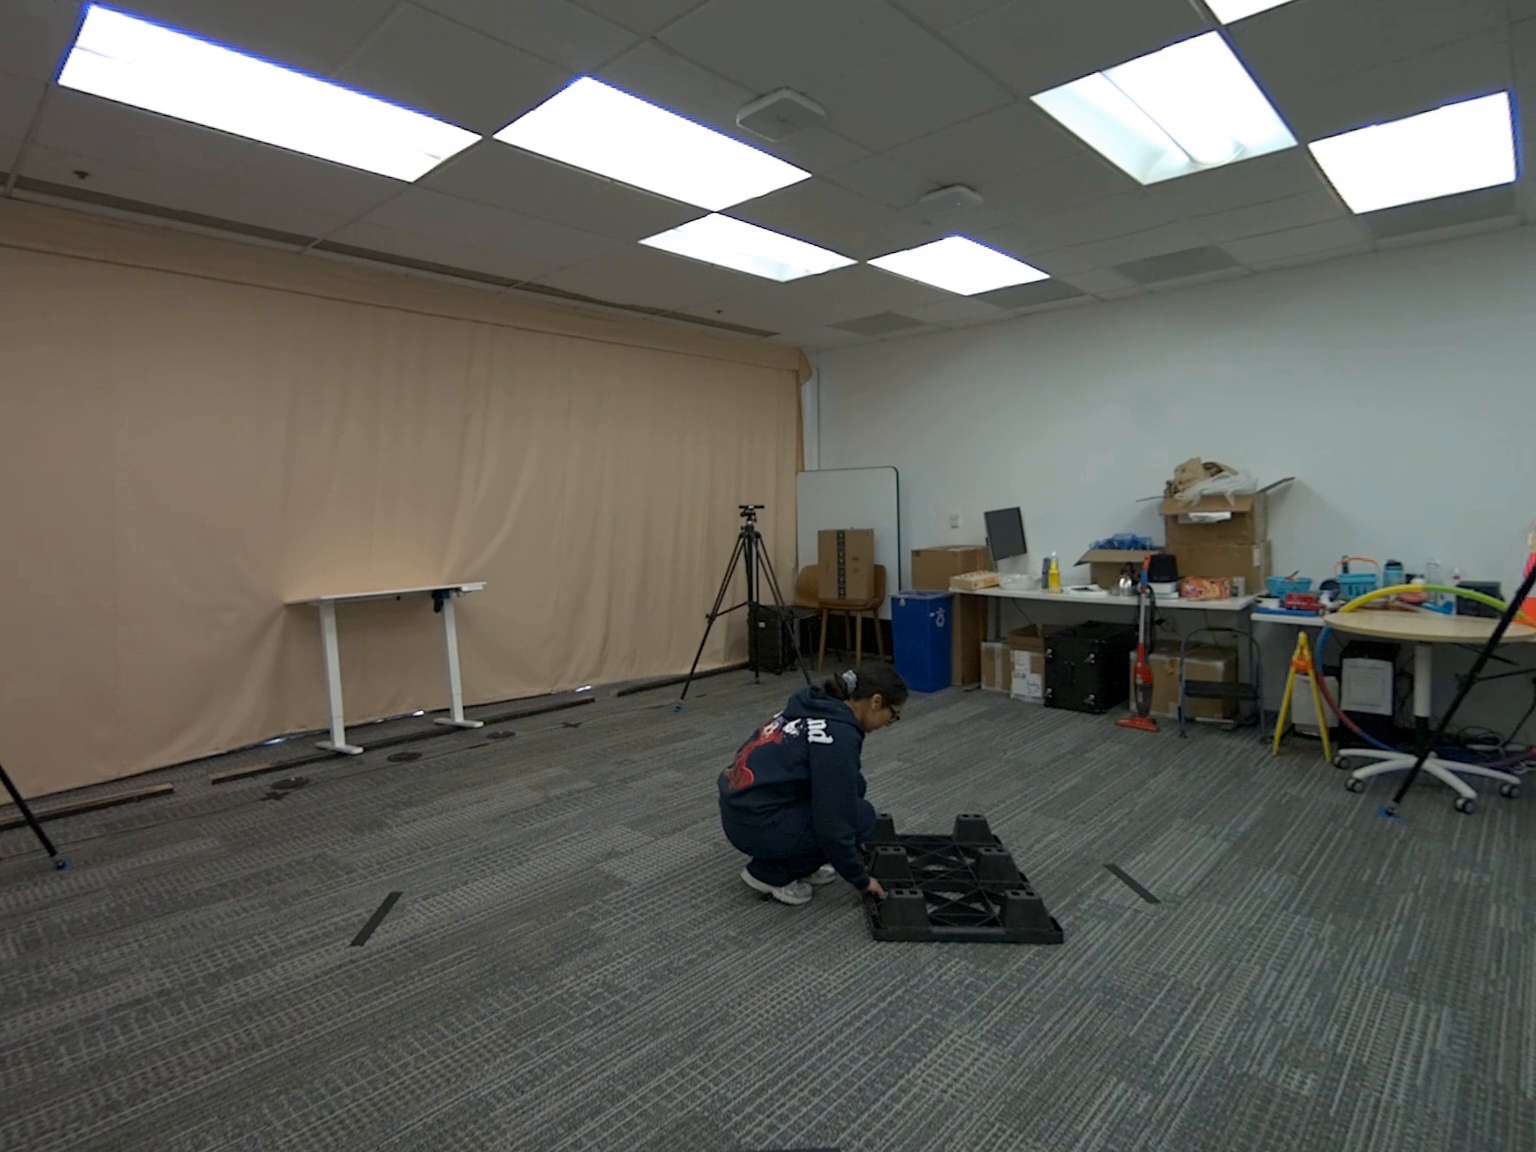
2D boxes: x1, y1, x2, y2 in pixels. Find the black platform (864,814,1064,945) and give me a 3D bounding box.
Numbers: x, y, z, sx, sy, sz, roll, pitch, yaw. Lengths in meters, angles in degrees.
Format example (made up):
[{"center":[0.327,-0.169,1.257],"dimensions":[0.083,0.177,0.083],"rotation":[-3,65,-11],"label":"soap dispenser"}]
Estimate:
[{"center":[0.640,1.057,3.034],"dimensions":[0.607,0.143,0.806],"rotation":[-1,5,1],"label":"black platform"}]
